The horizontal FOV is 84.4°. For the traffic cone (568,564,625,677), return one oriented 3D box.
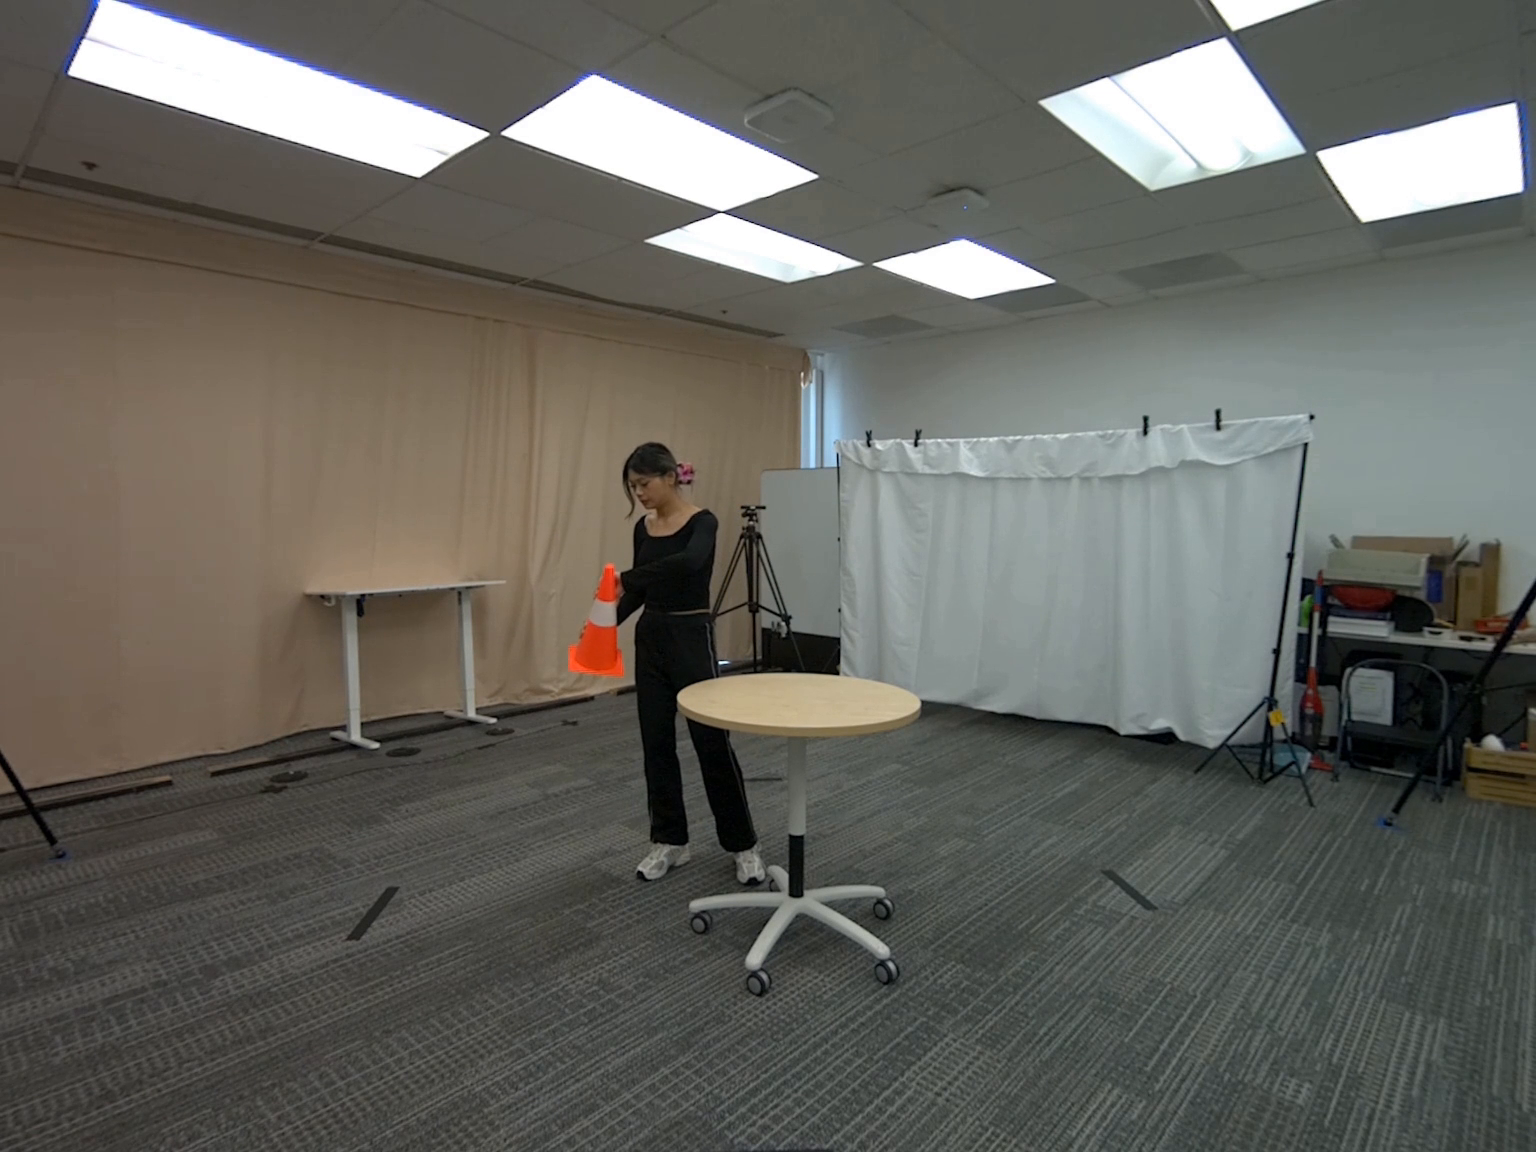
[{"bbox_3d":[-0.587,0.136,3.009,0.202,0.381,0.208,10,19,-13],"label":"traffic cone"}]
